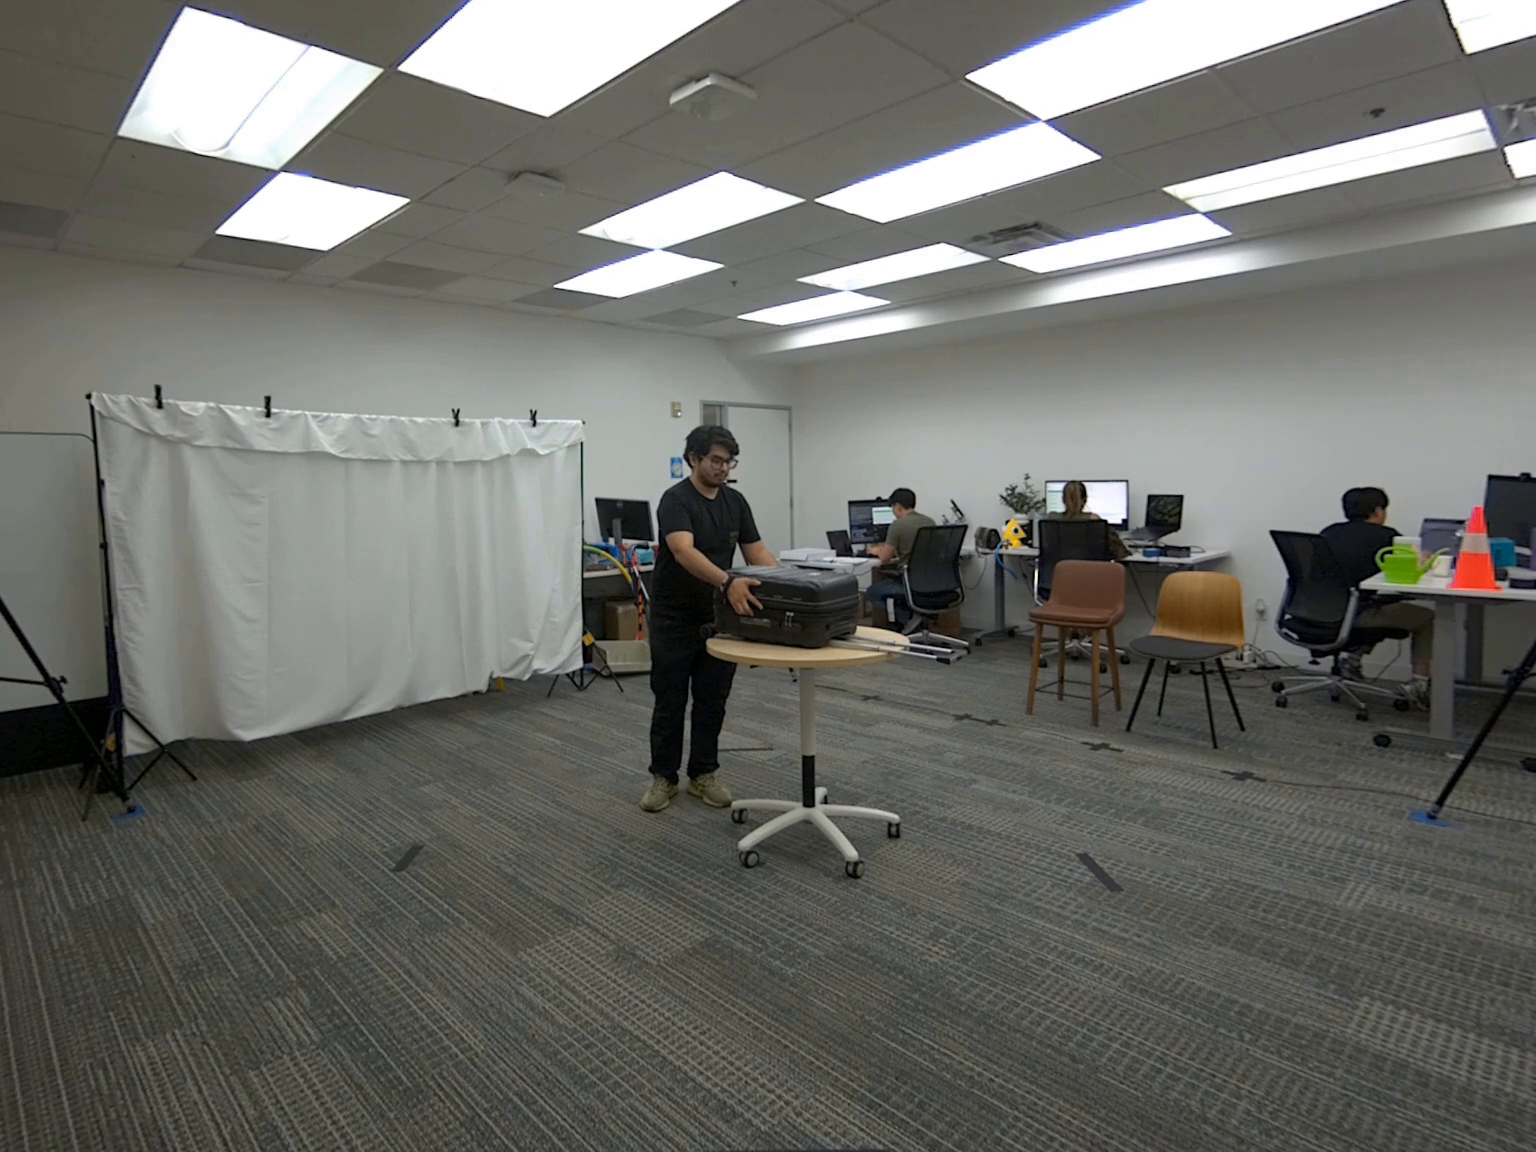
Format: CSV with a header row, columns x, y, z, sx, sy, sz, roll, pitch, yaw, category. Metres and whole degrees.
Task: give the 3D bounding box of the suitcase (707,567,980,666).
x,y,z,sx,sy,sz,roll,pitch,yaw,category
0.234,0.123,3.173,1.006,0.256,0.374,3,5,35,suitcase
